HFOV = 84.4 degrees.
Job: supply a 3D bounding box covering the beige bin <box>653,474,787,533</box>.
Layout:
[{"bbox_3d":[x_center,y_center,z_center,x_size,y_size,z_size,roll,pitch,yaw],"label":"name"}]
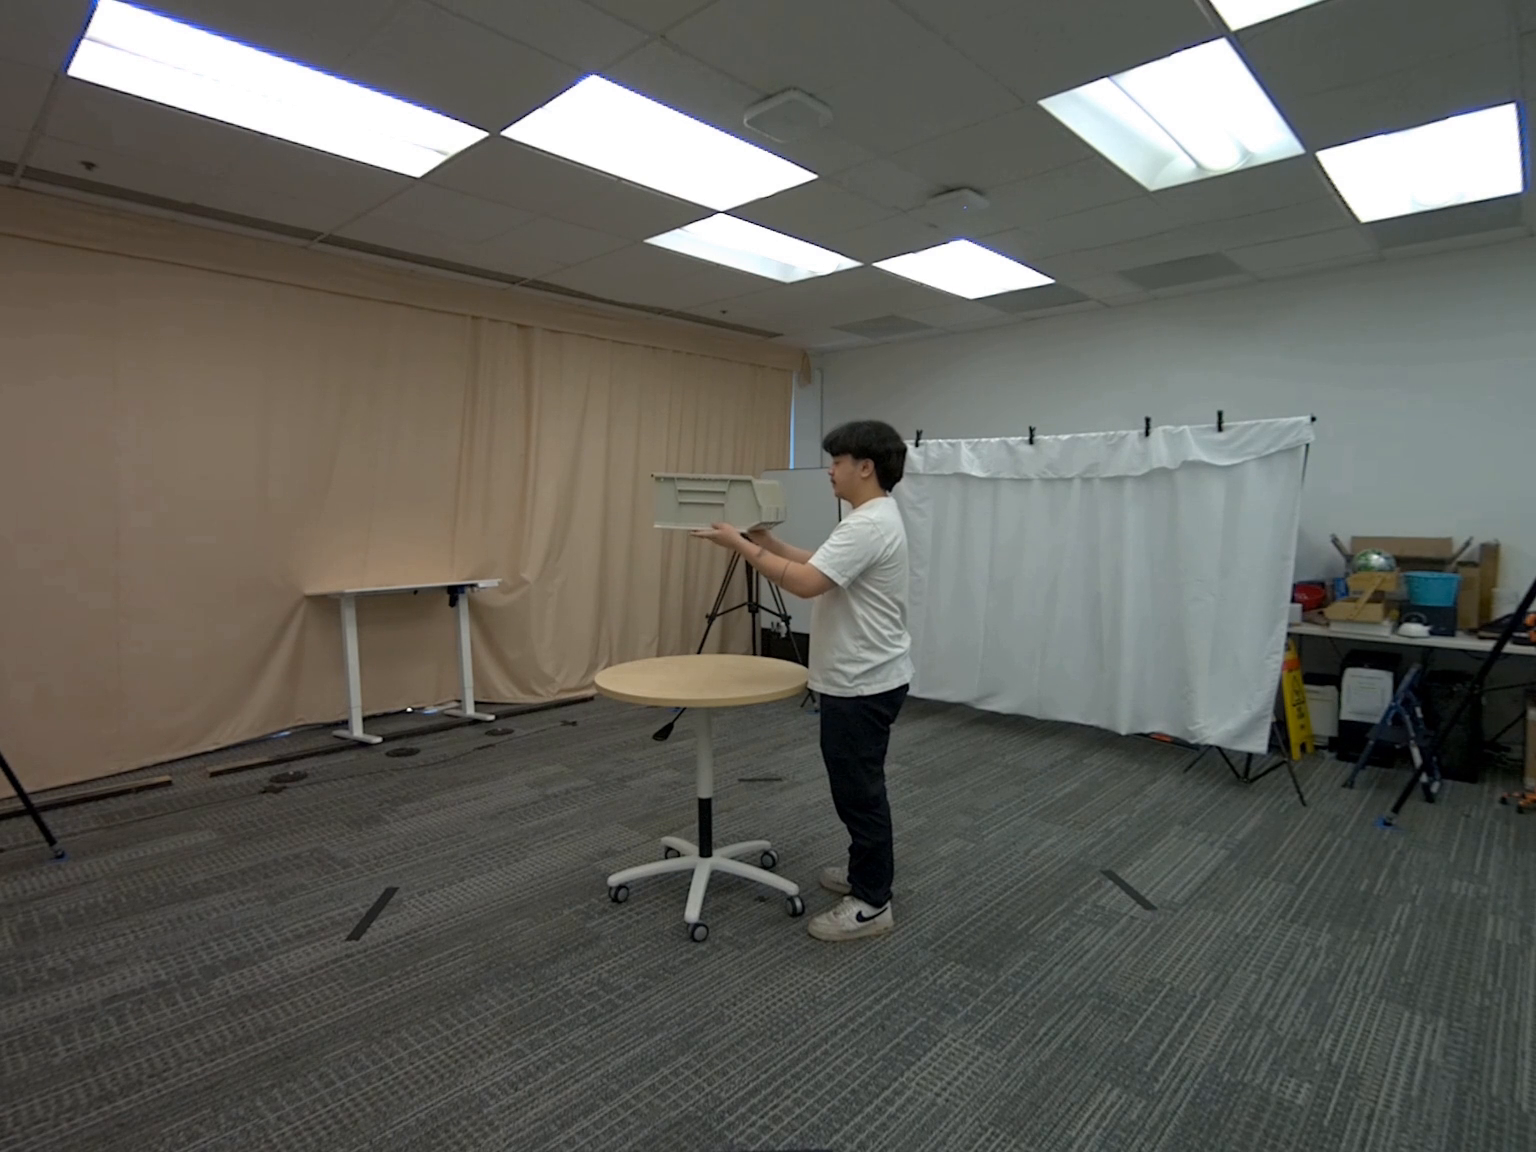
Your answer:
[{"bbox_3d":[-0.150,-0.247,2.899,0.383,0.188,0.417,3,6,13],"label":"beige bin"}]
